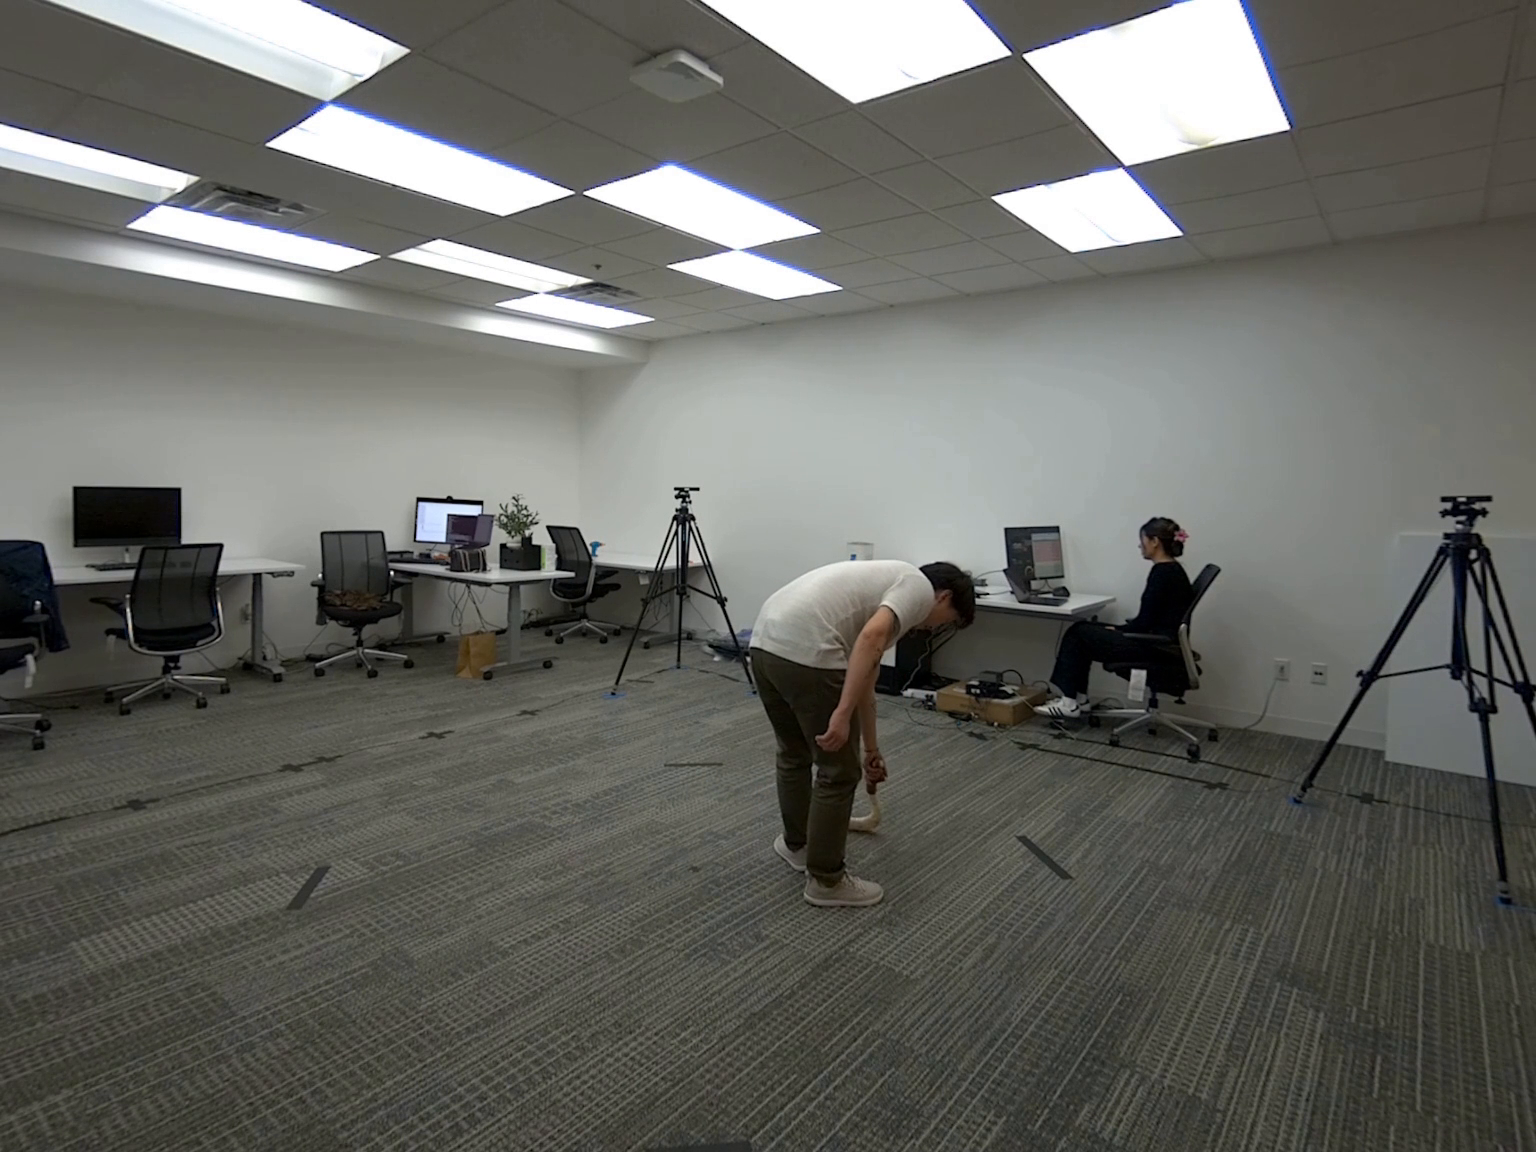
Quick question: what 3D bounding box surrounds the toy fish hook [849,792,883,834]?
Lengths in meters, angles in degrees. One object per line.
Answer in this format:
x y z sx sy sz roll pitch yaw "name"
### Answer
0.337 0.854 3.330 0.225 0.493 0.049 4 44 0 "toy fish hook"
